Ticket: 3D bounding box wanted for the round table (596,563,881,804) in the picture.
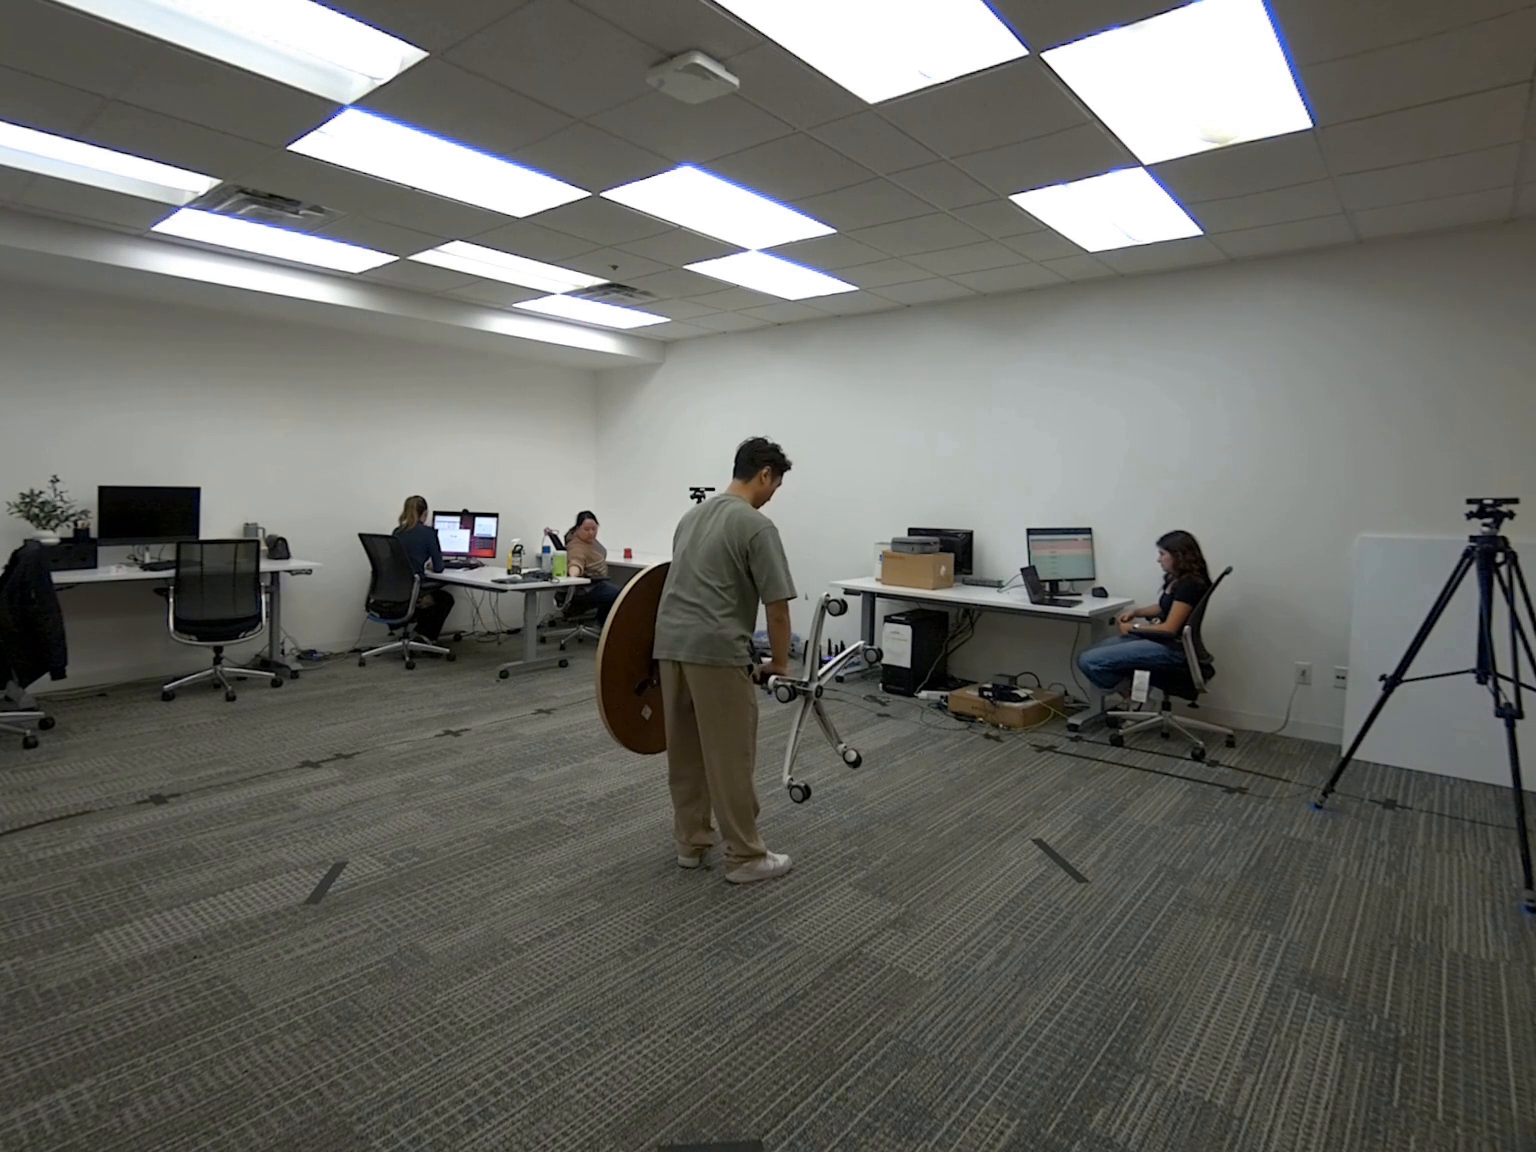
[{"bbox_3d":[-0.090,0.376,3.158,0.813,0.781,0.763,9,8,33],"label":"round table"}]
